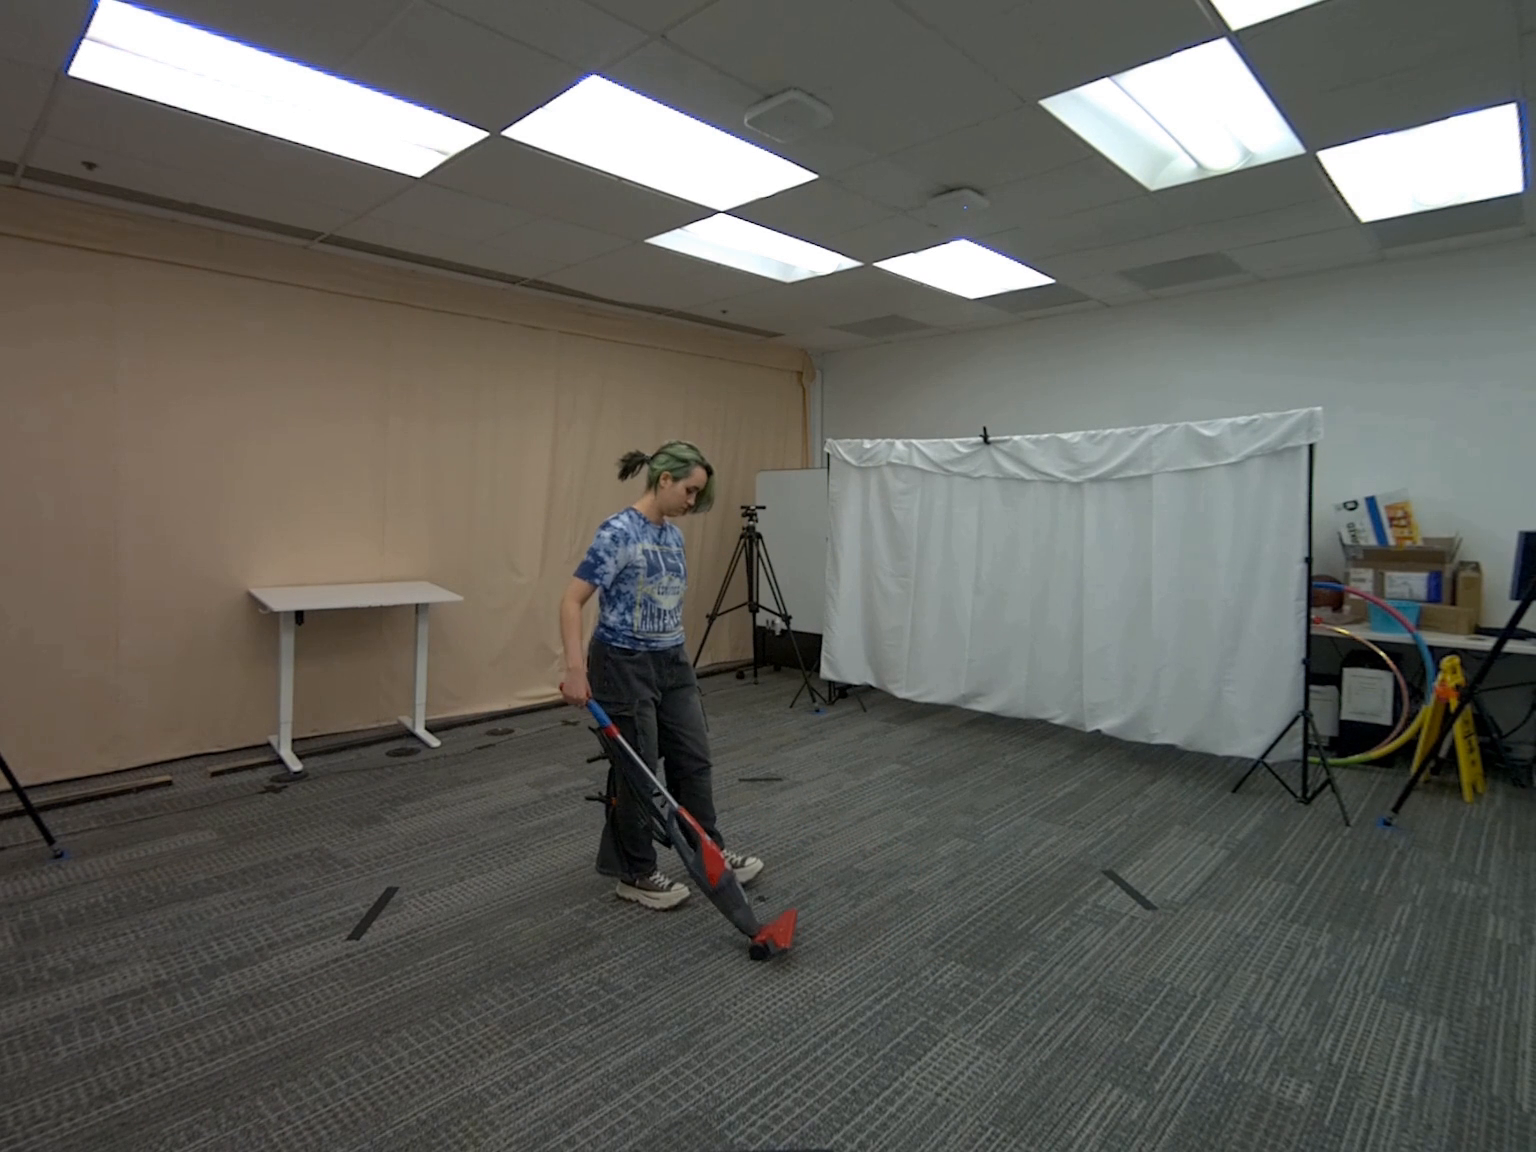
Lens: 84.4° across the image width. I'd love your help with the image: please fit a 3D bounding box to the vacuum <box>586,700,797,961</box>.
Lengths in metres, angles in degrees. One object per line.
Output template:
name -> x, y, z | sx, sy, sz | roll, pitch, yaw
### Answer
vacuum -> -0.319, 0.763, 2.671 | 0.144, 1.056, 0.250 | -44, -5, 12
